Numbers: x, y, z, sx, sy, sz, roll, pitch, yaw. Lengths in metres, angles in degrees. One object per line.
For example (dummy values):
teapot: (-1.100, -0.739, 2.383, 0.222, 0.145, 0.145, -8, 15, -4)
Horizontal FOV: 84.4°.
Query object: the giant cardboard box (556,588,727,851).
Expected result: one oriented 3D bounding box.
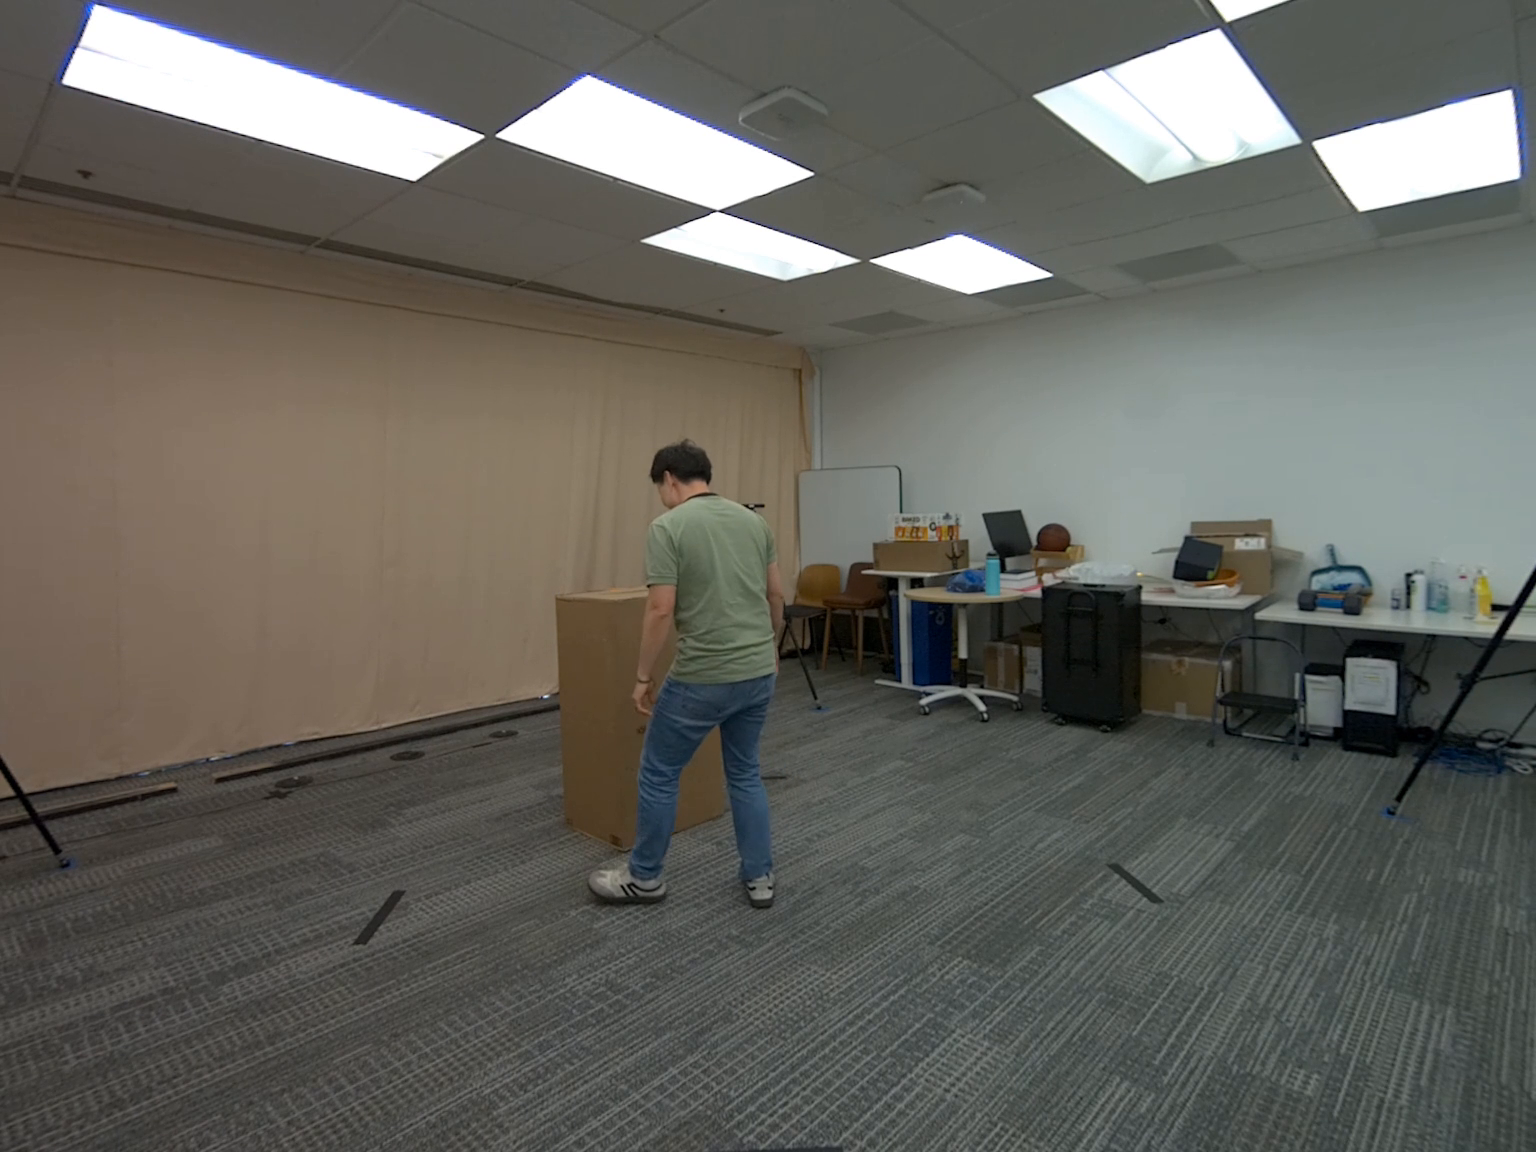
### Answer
giant cardboard box: (-0.562, 0.577, 3.719, 0.440, 1.024, 0.560, 1, 3, 42)
